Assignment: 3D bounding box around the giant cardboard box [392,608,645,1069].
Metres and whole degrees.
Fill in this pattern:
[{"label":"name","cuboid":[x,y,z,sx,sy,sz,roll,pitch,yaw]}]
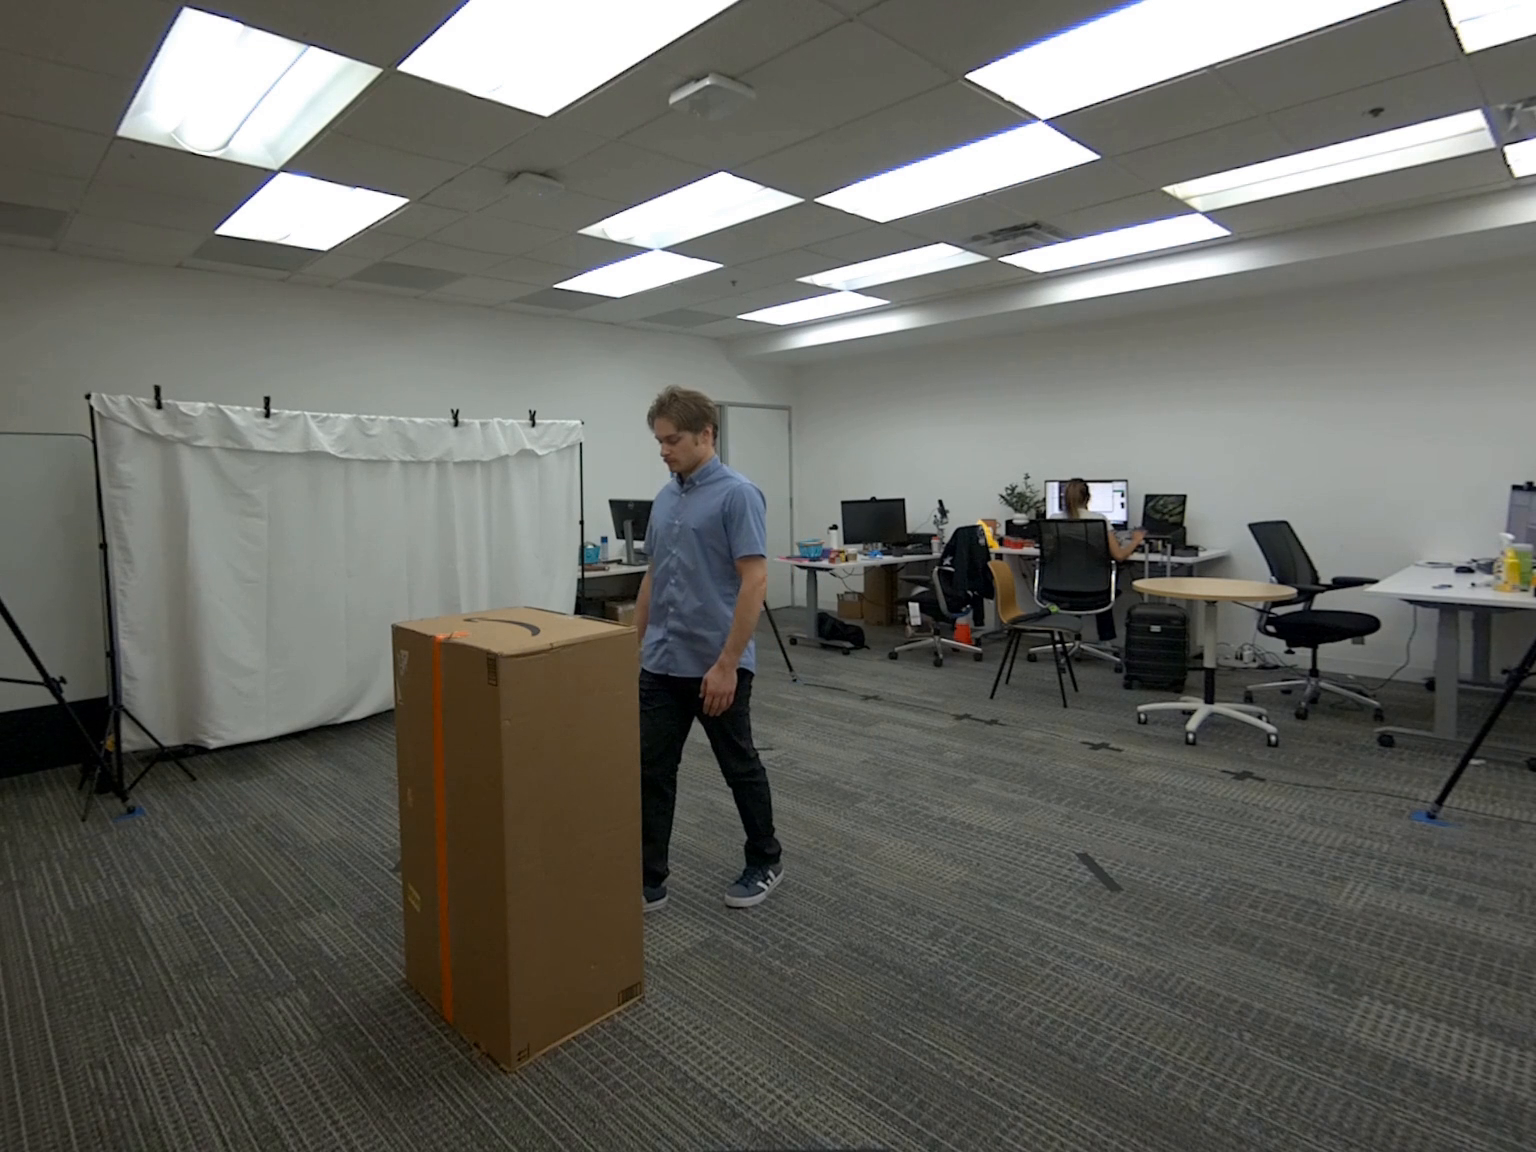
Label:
[{"label":"giant cardboard box","cuboid":[-0.689,0.641,2.339,0.595,1.022,0.415,4,6,44]}]
